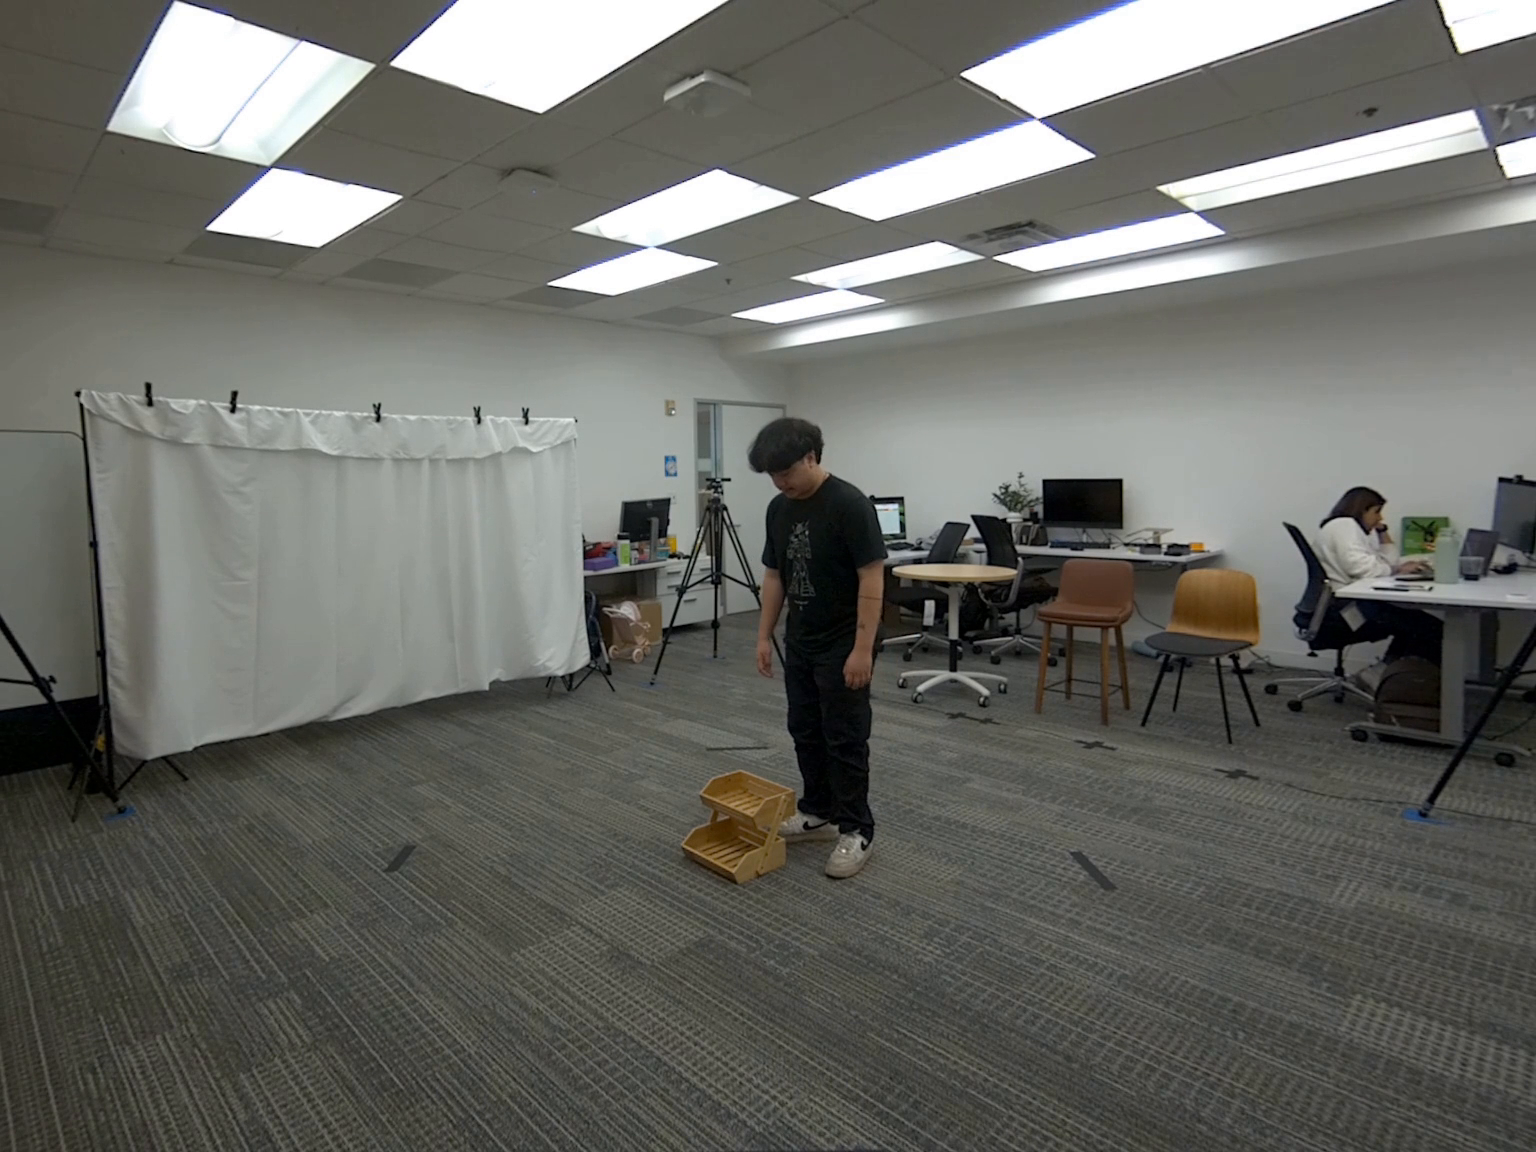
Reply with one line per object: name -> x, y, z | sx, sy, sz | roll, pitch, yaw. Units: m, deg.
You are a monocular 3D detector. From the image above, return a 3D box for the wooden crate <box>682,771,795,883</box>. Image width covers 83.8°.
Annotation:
wooden crate -> -0.111, 0.907, 3.132 | 0.294, 0.272, 0.334 | -4, 6, -42
